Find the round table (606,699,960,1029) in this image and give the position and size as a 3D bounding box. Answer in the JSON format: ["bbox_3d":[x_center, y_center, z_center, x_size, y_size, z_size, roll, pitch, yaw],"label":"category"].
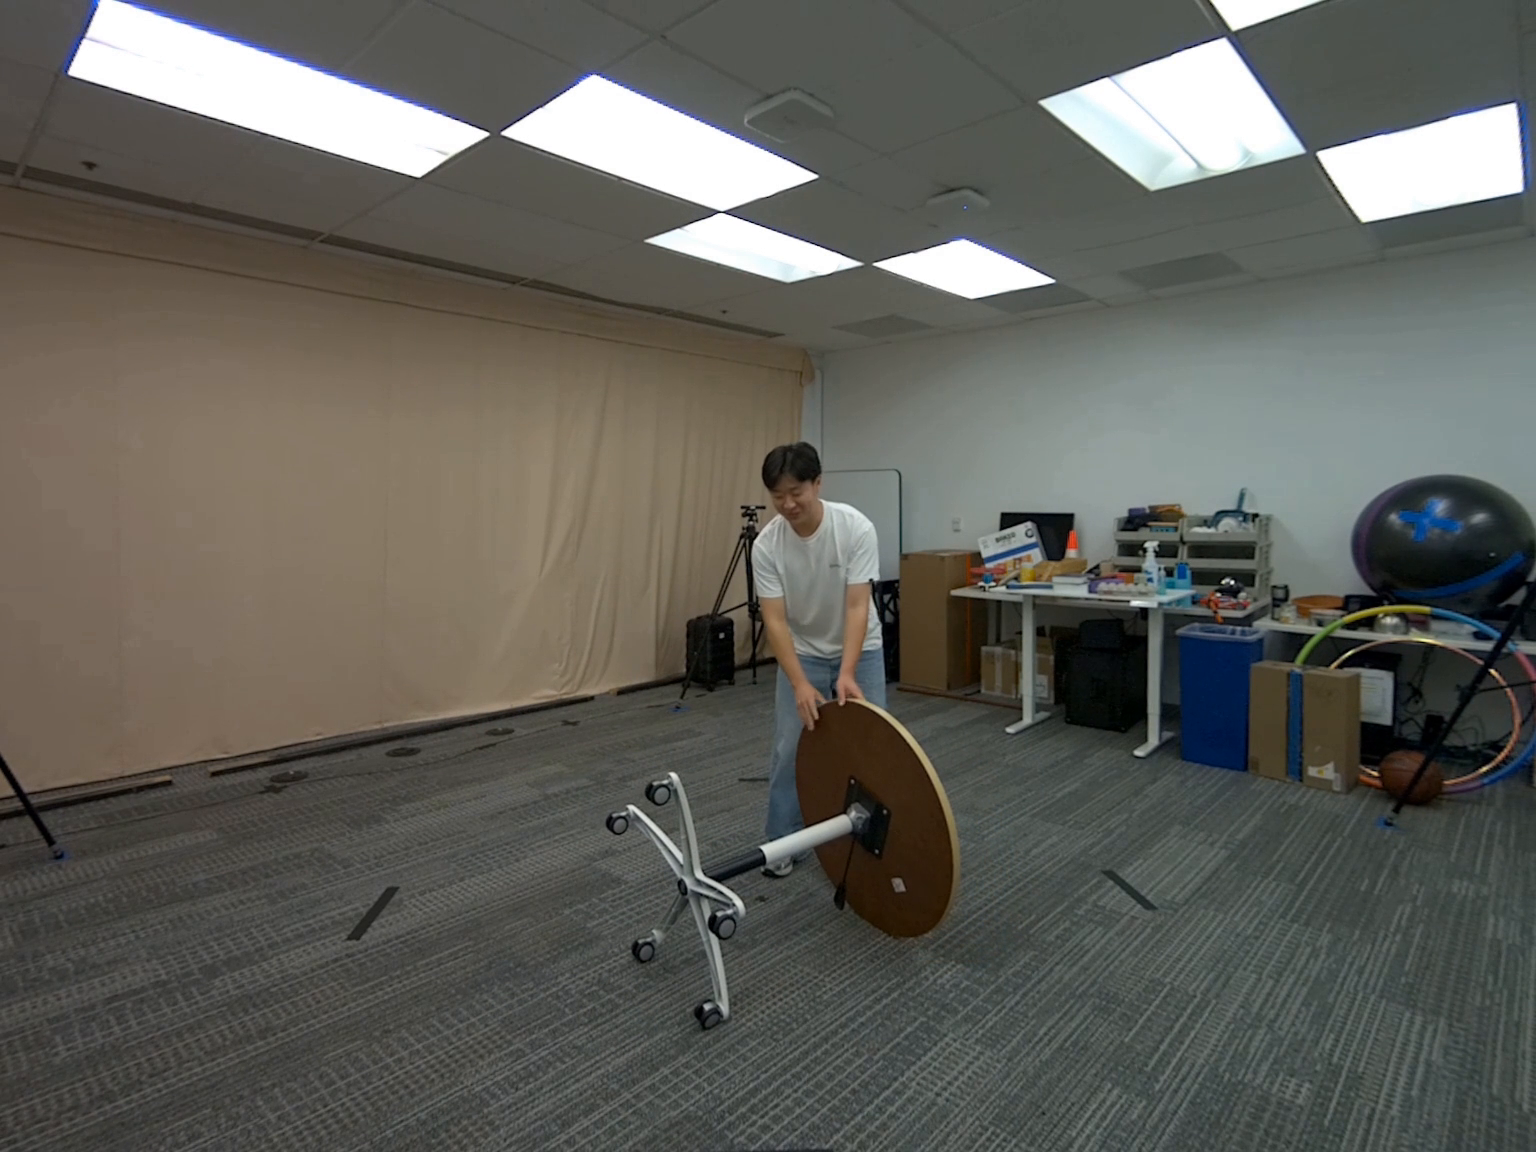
[{"bbox_3d":[0.016,0.845,2.555,0.774,0.760,0.787,-10,9,-32],"label":"round table"}]
